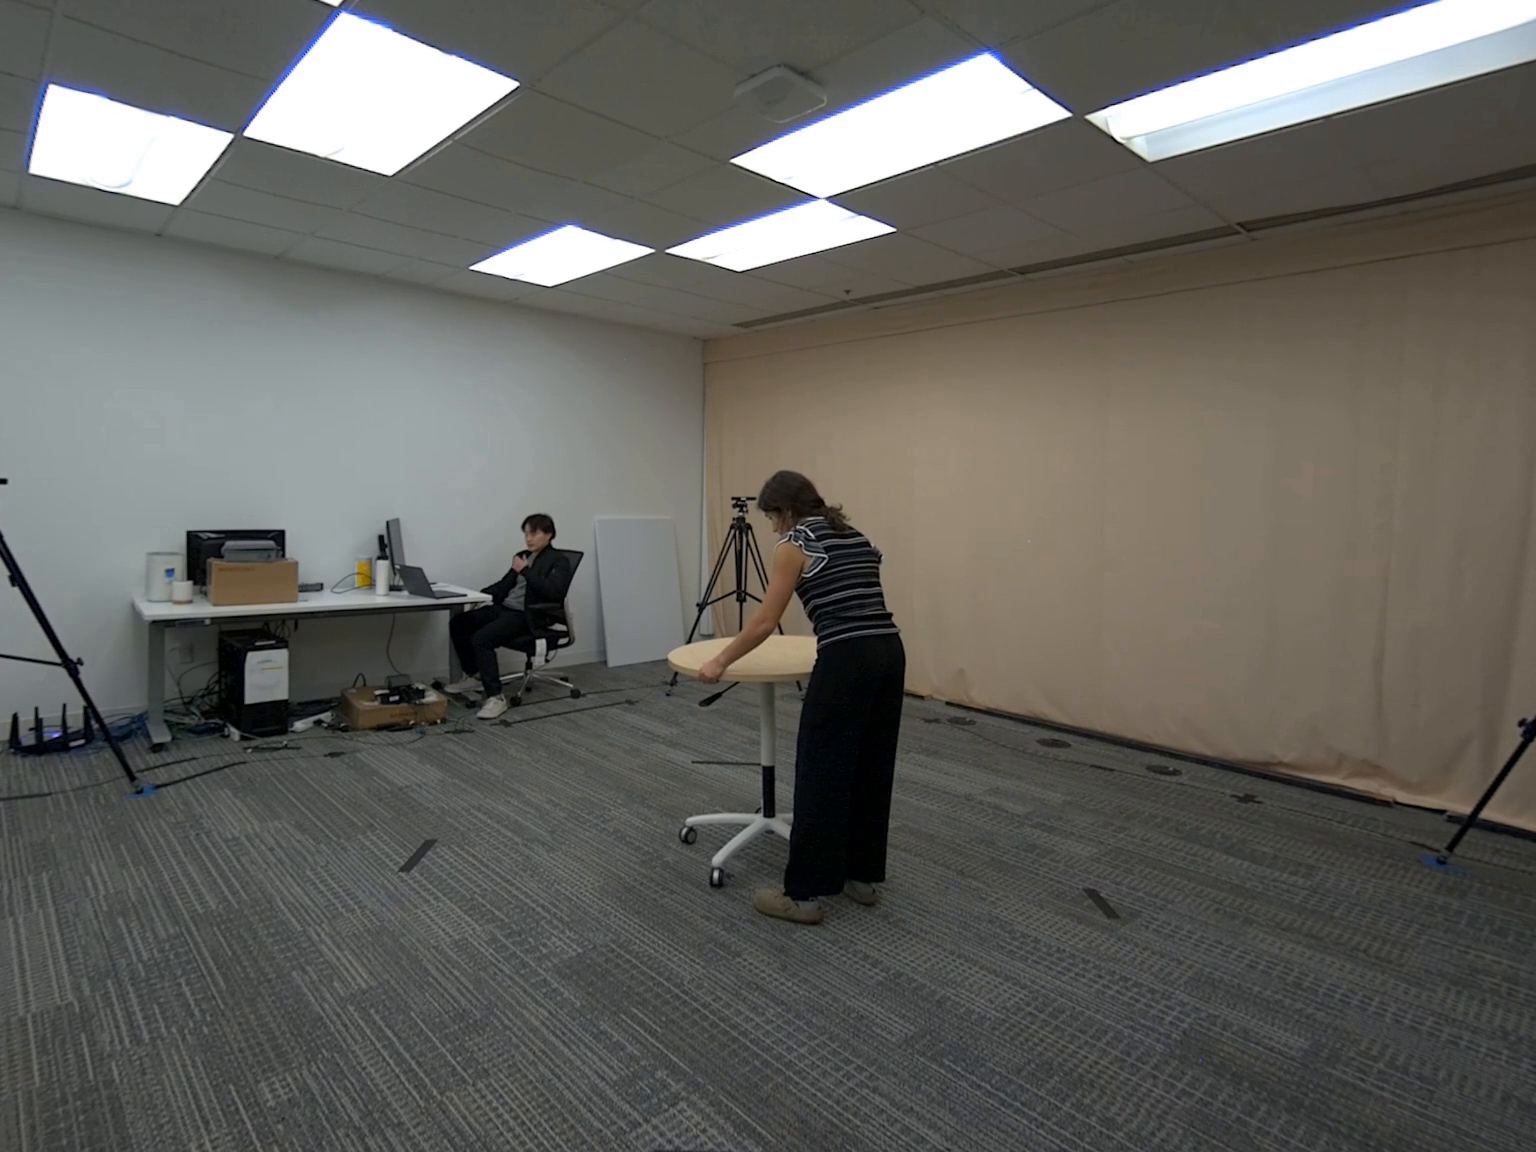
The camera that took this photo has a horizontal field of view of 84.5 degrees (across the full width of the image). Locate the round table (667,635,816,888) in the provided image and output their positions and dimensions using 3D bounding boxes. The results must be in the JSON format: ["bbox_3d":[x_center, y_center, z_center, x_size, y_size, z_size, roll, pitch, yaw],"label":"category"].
[{"bbox_3d":[-0.009,0.693,3.289,0.763,0.791,0.767,-1,5,-1],"label":"round table"}]
